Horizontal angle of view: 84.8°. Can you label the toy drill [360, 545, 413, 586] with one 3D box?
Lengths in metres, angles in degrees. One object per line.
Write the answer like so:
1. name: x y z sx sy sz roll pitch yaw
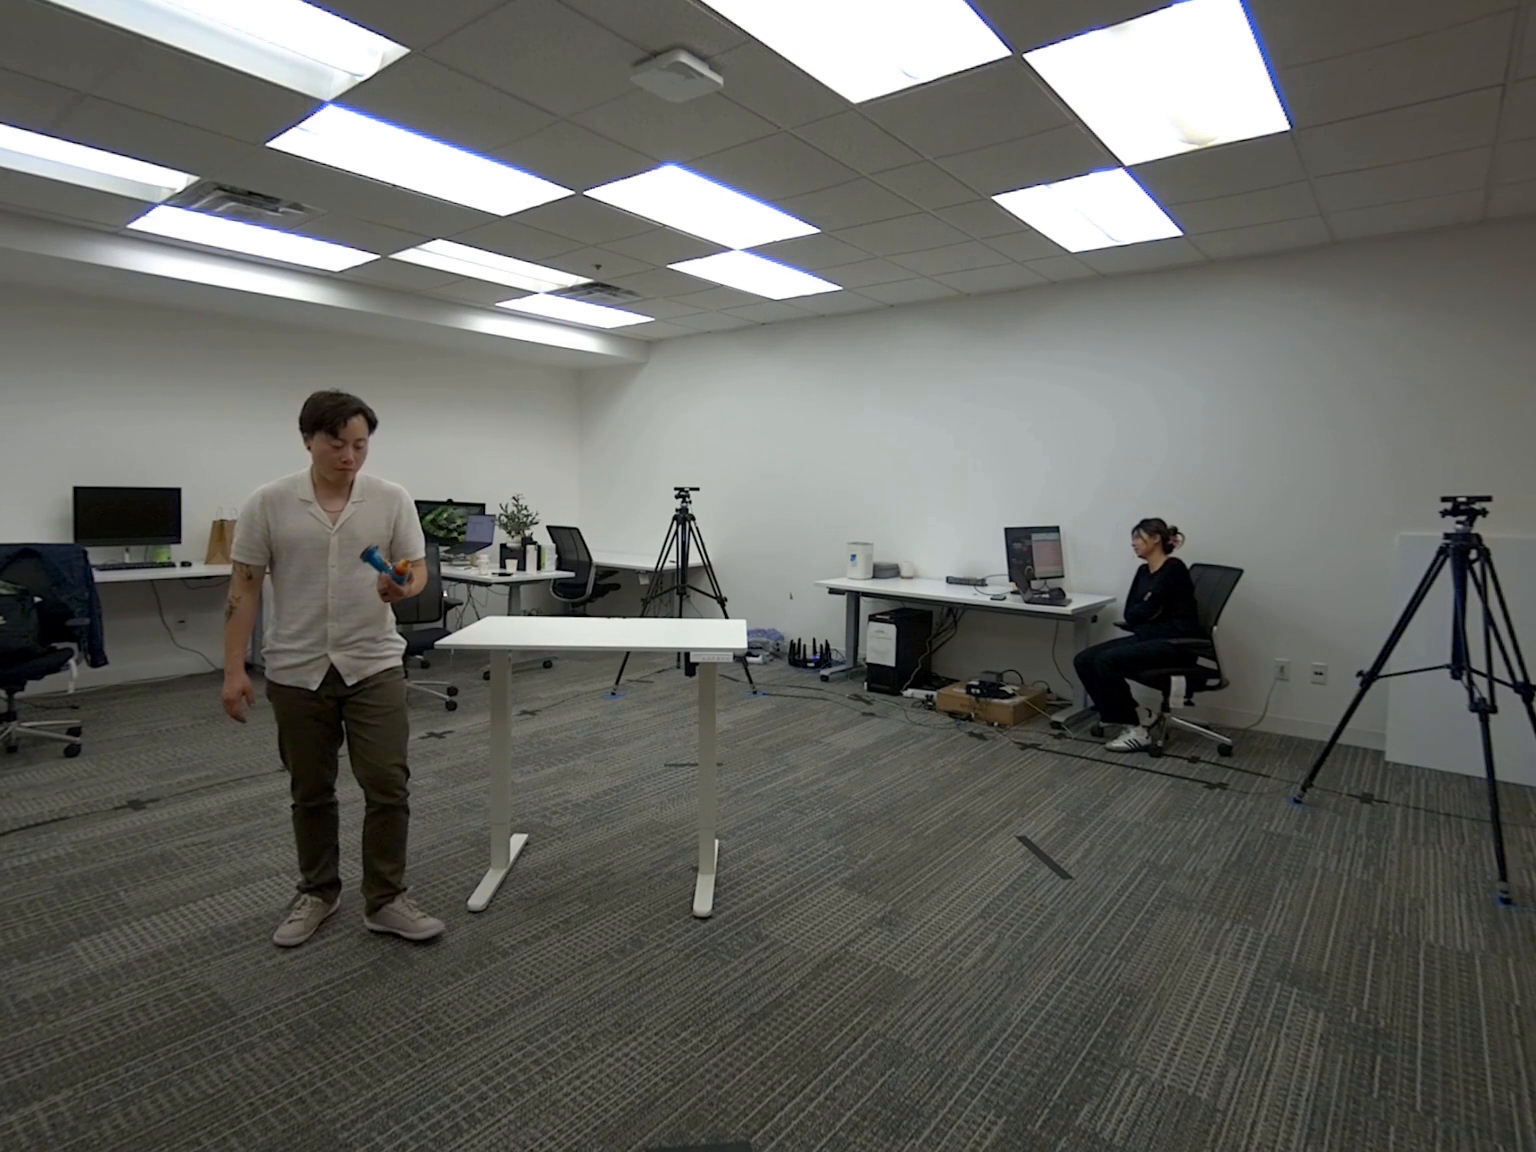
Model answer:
1. toy drill: -1.097 -0.037 2.419 0.171 0.145 0.061 -36 7 41
